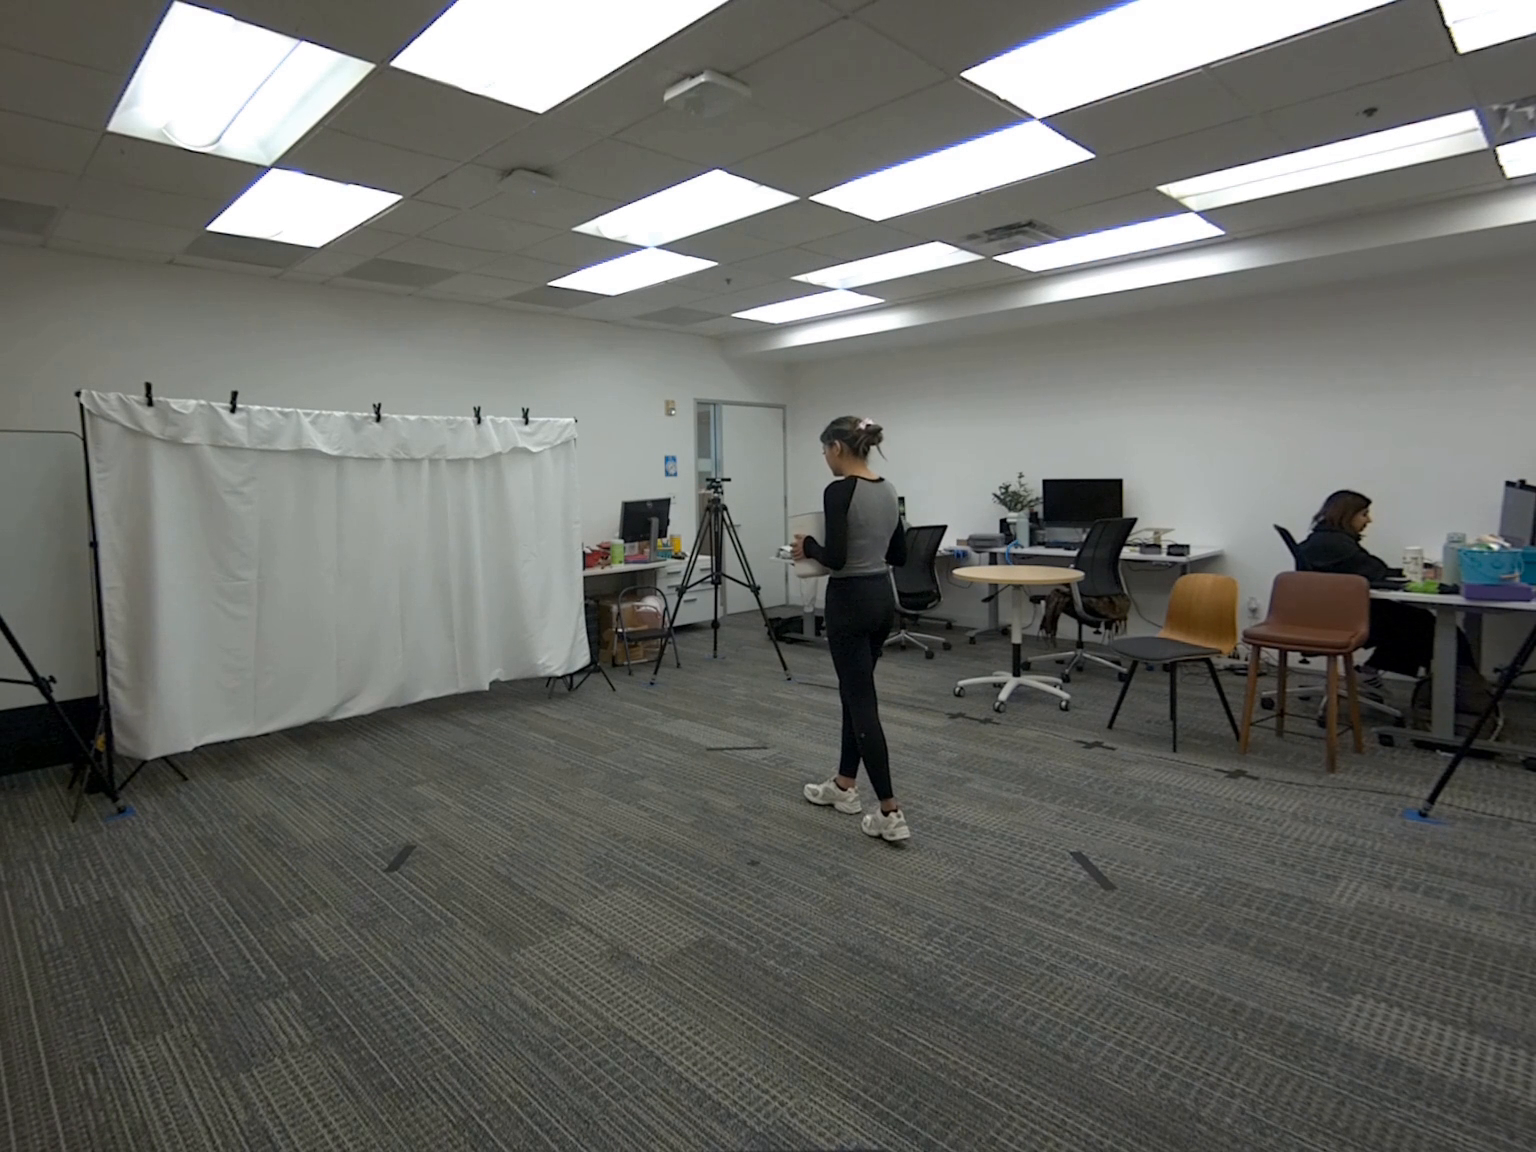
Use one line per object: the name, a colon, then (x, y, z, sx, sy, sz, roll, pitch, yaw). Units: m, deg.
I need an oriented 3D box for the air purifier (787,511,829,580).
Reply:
air purifier: (0.217, -0.133, 3.592, 0.167, 0.266, 0.175, -6, -2, -45)
